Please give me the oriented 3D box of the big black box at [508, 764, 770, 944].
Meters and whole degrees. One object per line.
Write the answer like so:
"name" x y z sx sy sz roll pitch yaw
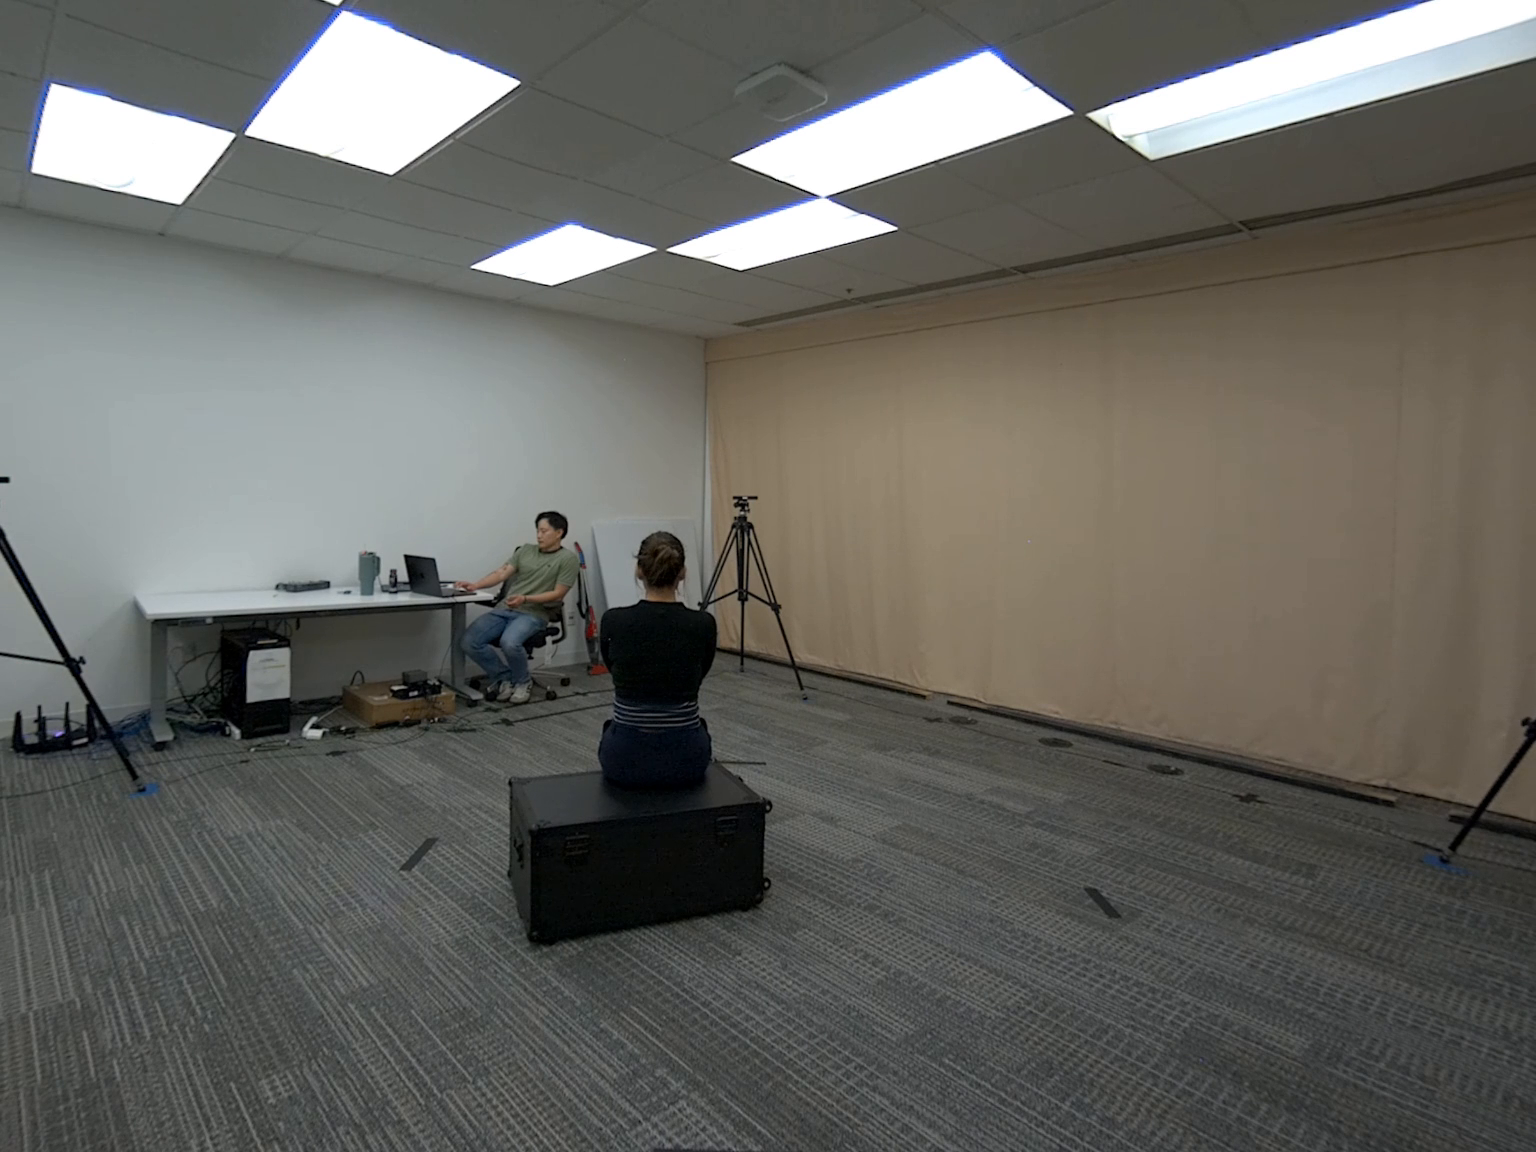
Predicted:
"big black box" -0.495 0.924 2.899 0.847 0.395 0.532 -1 5 -24
